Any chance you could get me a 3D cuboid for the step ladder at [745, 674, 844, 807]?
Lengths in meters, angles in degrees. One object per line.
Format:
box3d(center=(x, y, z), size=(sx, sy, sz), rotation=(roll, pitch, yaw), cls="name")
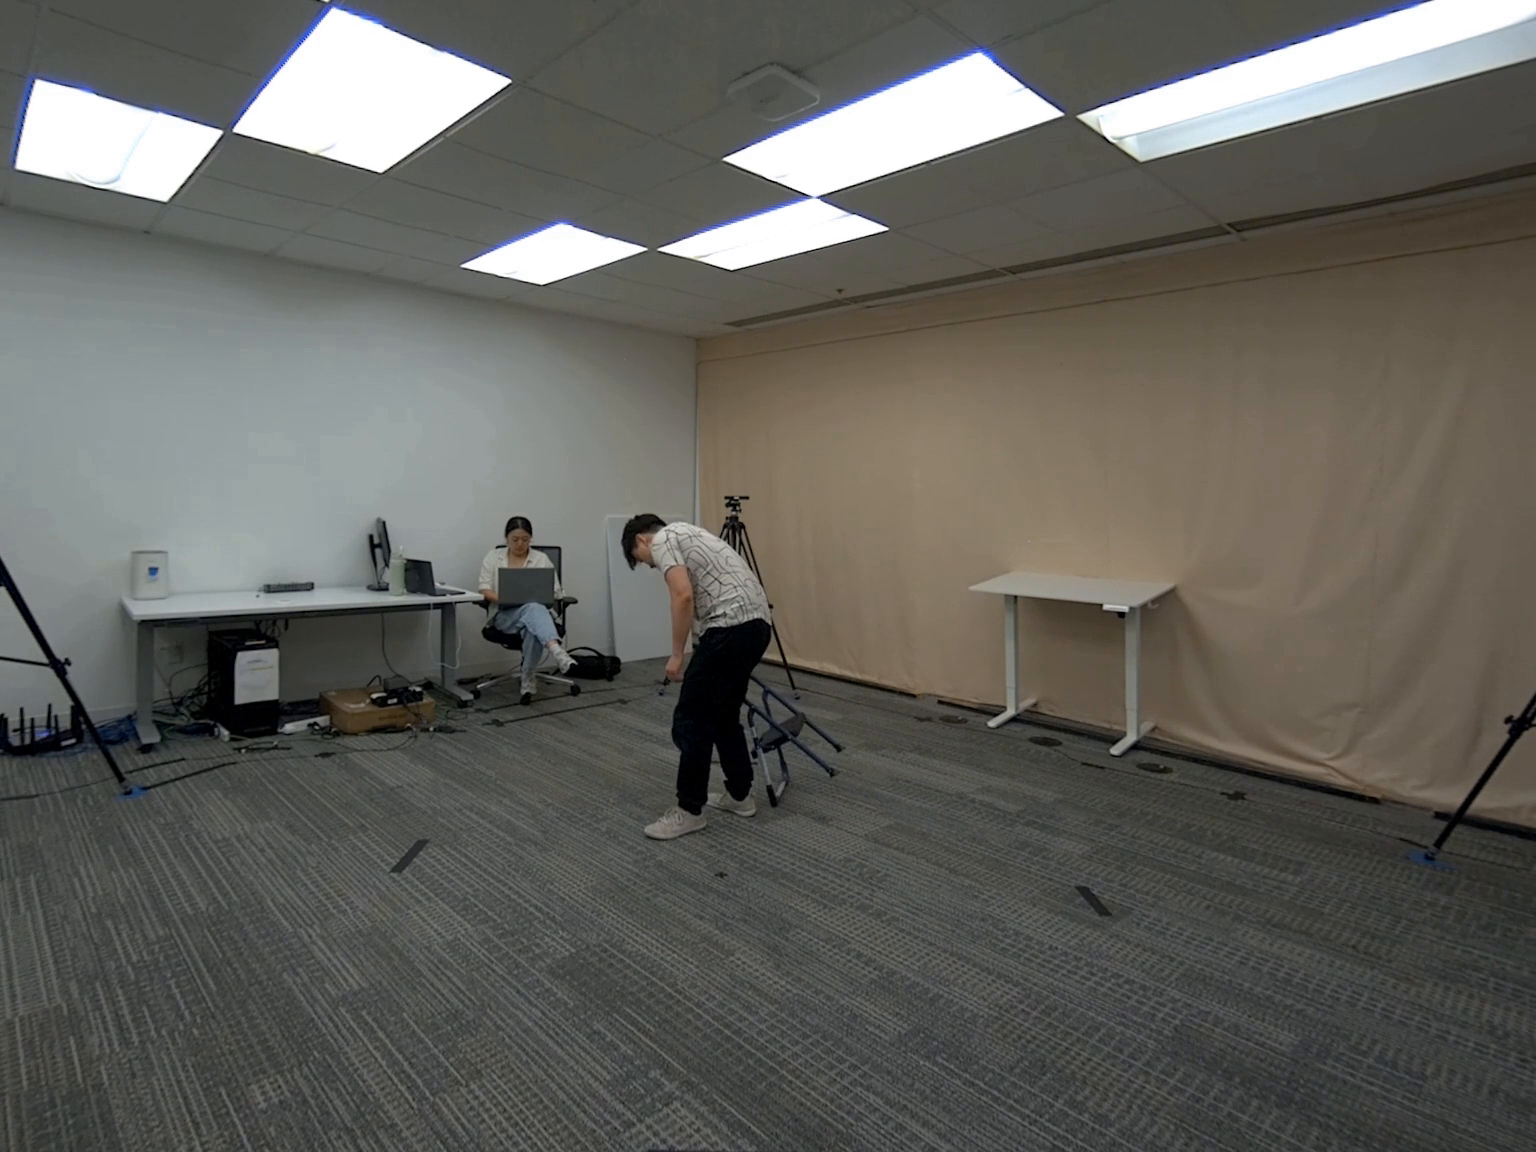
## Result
box3d(center=(0.034, 0.693, 4.009), size=(0.350, 0.608, 0.427), rotation=(-31, -3, 10), cls="step ladder")
